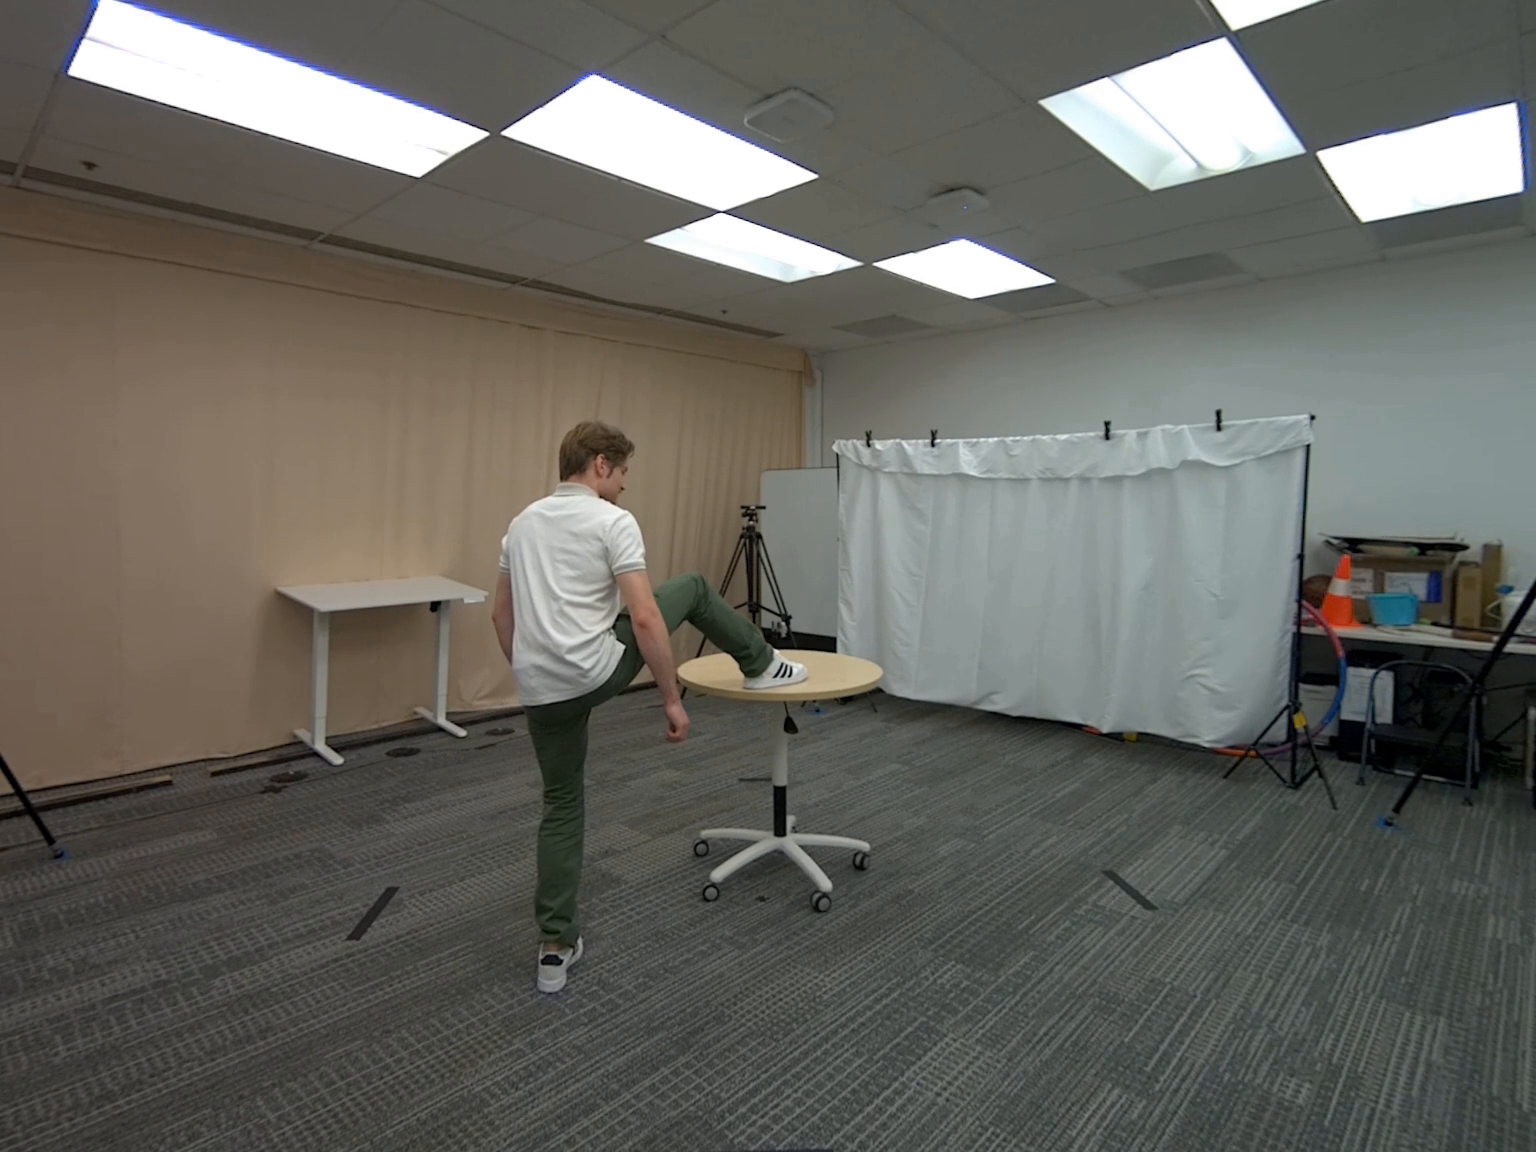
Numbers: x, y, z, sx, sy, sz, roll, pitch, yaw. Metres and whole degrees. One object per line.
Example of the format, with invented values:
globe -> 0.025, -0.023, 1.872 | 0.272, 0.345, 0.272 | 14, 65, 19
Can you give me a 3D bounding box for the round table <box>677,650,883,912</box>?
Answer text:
round table -> 0.048, 0.738, 3.185 | 0.763, 0.792, 0.767 | 0, 4, -2
